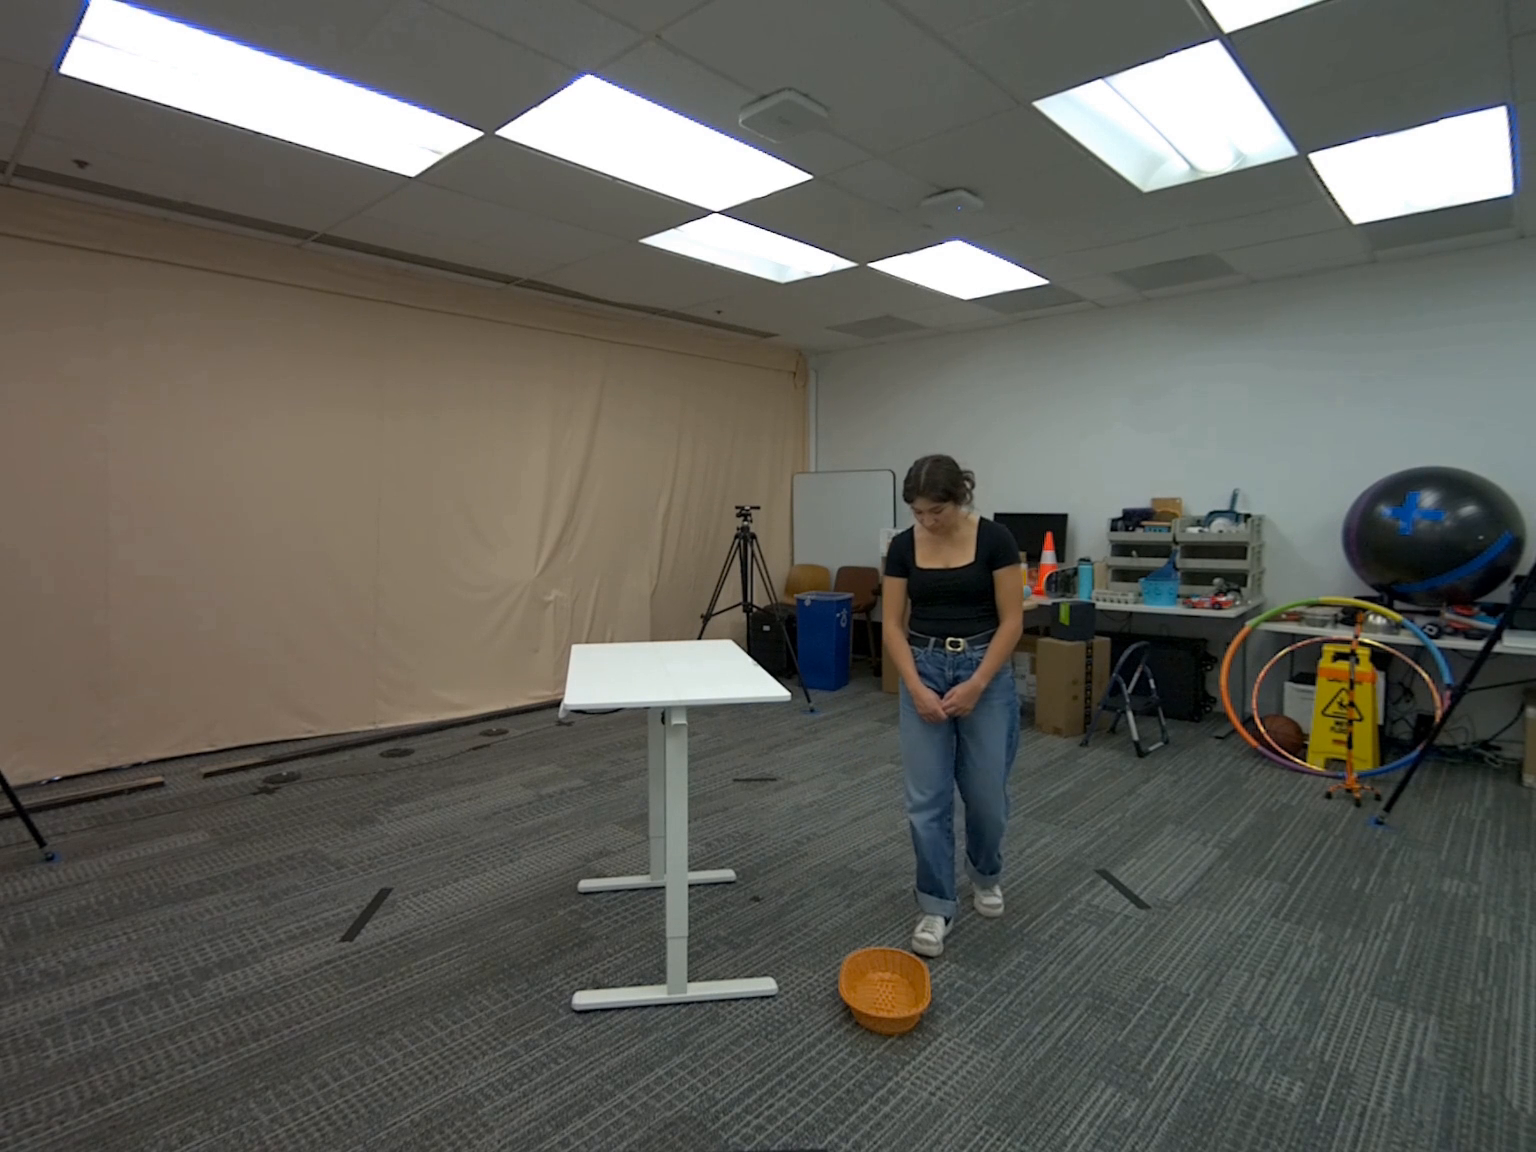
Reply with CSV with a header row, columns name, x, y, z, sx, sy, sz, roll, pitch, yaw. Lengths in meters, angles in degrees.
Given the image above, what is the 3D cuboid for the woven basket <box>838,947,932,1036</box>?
name,x,y,z,sx,sy,sz,roll,pitch,yaw
woven basket,0.326,1.157,2.354,0.256,0.073,0.346,0,5,12
